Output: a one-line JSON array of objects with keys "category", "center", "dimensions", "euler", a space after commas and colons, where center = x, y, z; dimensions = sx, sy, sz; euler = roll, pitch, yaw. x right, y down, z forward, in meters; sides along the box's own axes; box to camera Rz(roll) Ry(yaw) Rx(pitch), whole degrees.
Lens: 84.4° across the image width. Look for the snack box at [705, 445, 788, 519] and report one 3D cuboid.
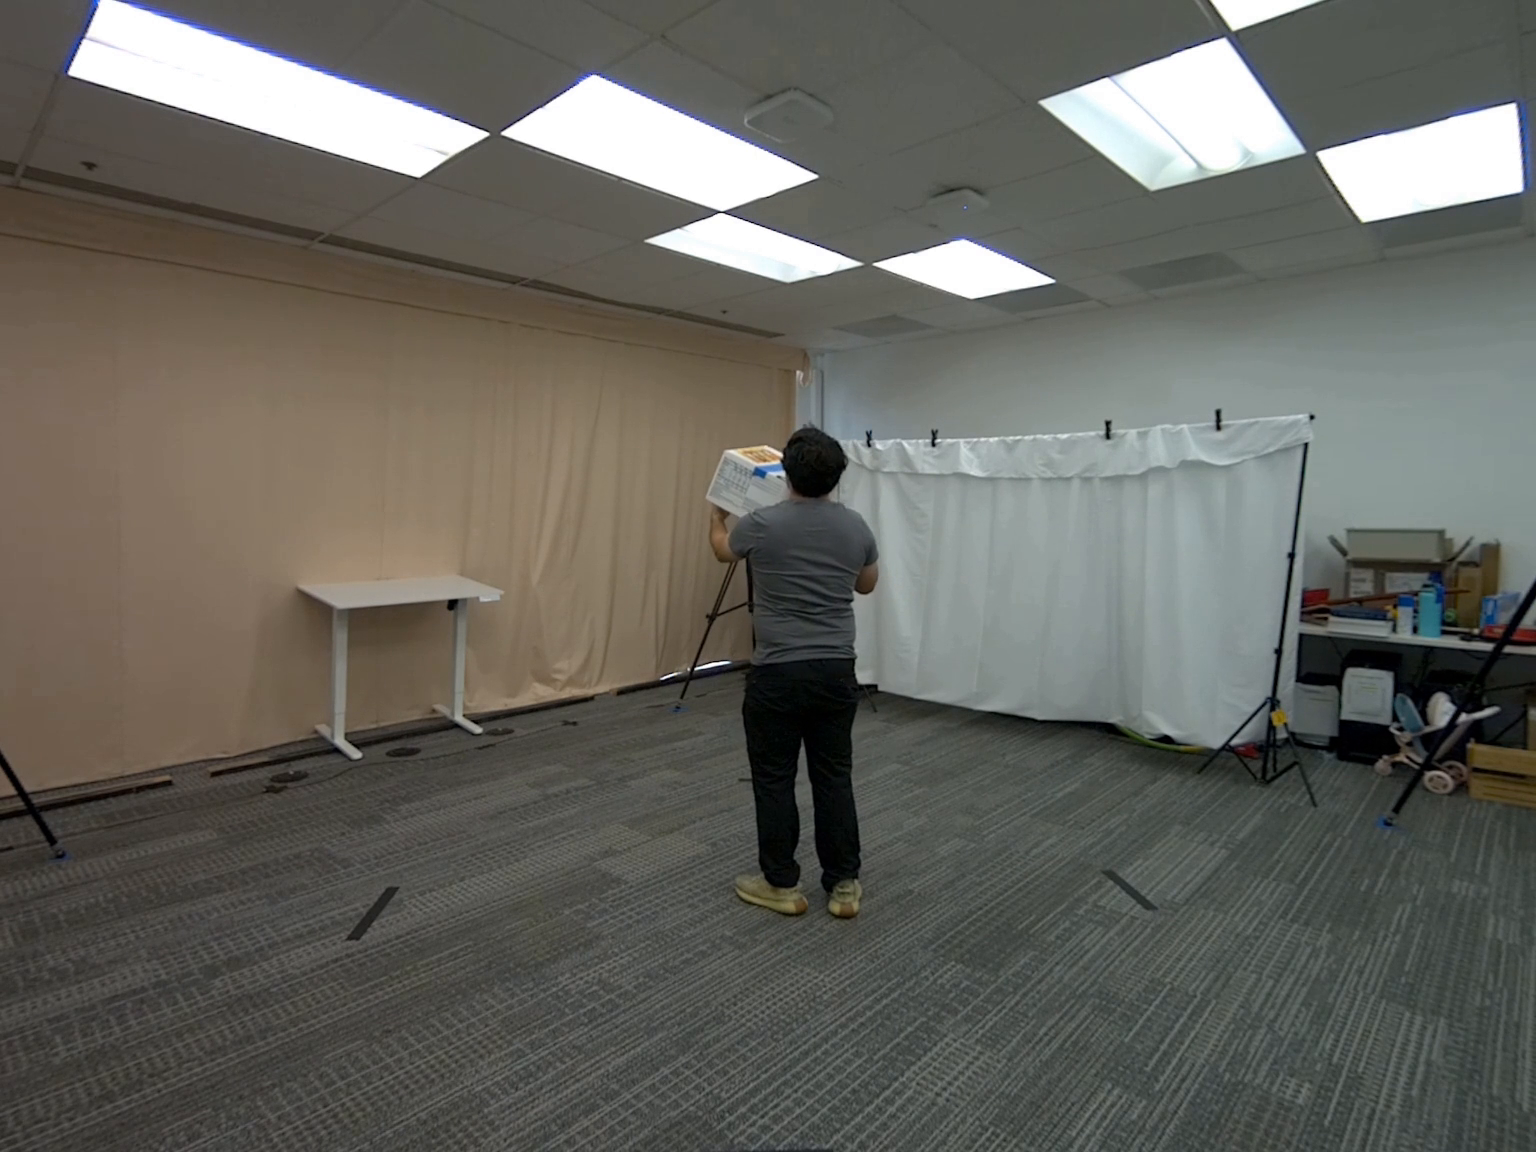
[{"category": "snack box", "center": [0.026, -0.331, 3.245], "dimensions": [0.348, 0.205, 0.398], "euler": [28, 20, 17]}]
